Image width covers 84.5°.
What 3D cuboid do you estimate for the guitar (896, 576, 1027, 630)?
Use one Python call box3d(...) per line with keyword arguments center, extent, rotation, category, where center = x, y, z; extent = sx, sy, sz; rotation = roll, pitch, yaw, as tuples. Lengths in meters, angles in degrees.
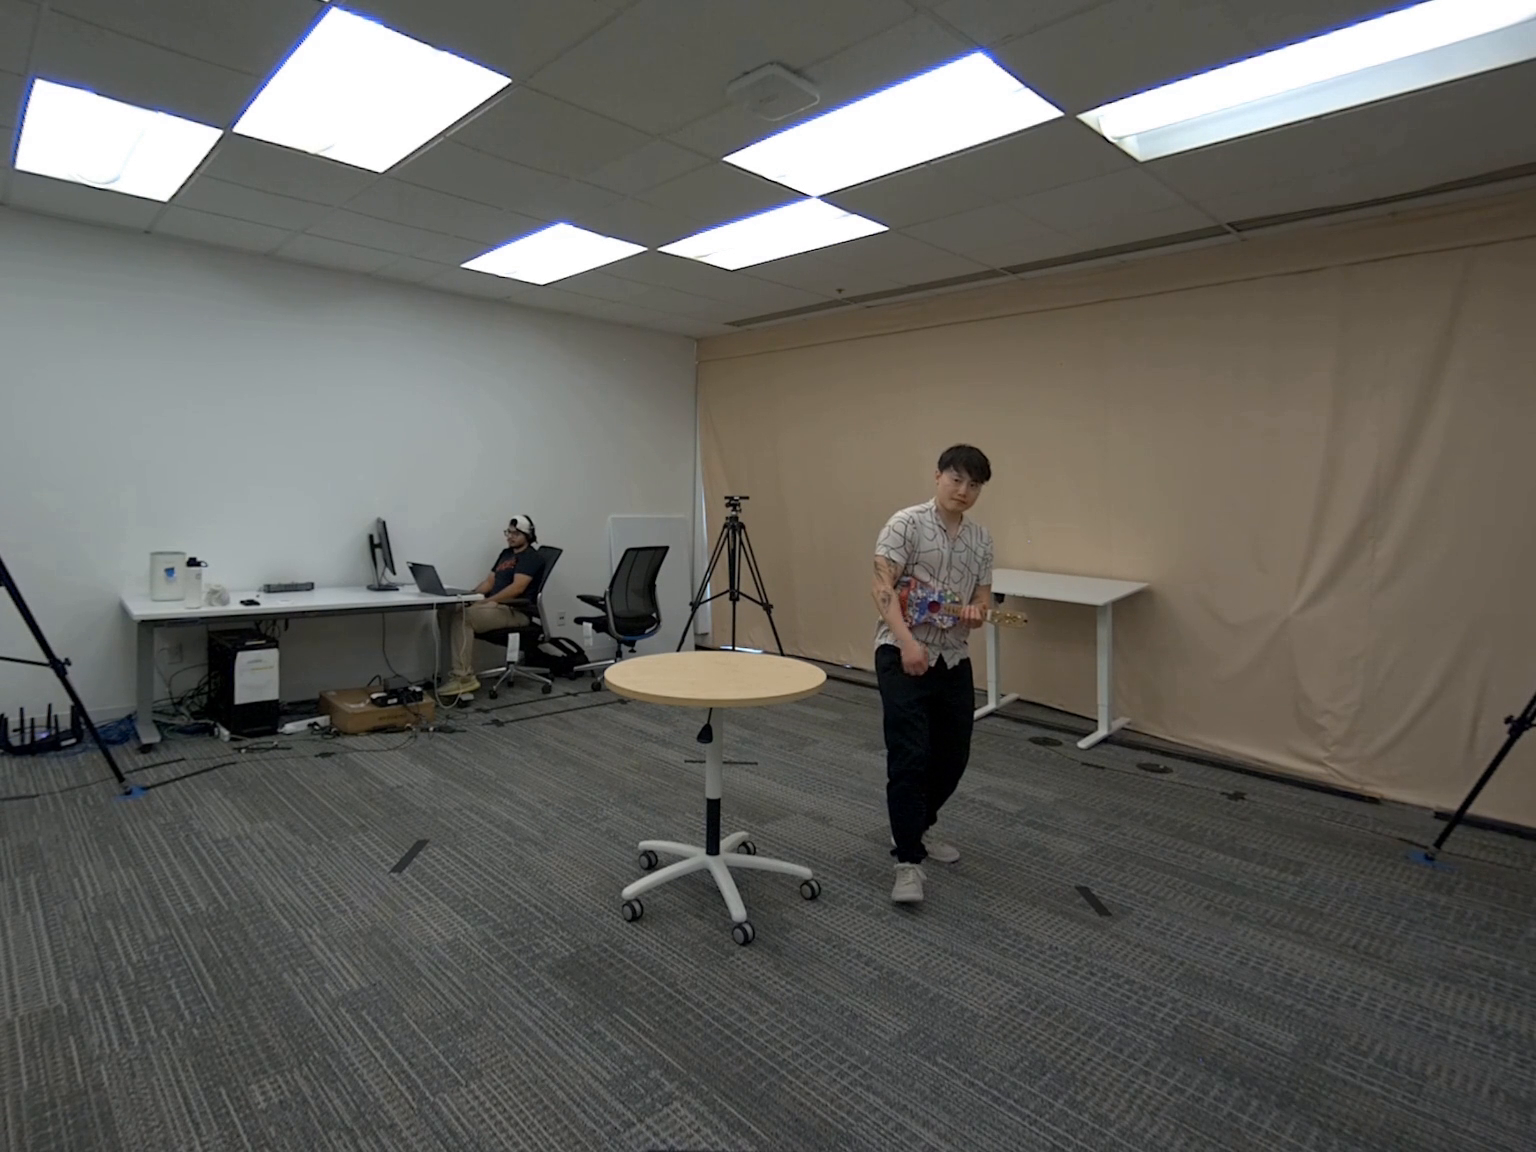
box3d(center=(0.664, 0.148, 3.068), extent=(0.509, 0.193, 0.069), rotation=(17, -5, 26), category="guitar")
